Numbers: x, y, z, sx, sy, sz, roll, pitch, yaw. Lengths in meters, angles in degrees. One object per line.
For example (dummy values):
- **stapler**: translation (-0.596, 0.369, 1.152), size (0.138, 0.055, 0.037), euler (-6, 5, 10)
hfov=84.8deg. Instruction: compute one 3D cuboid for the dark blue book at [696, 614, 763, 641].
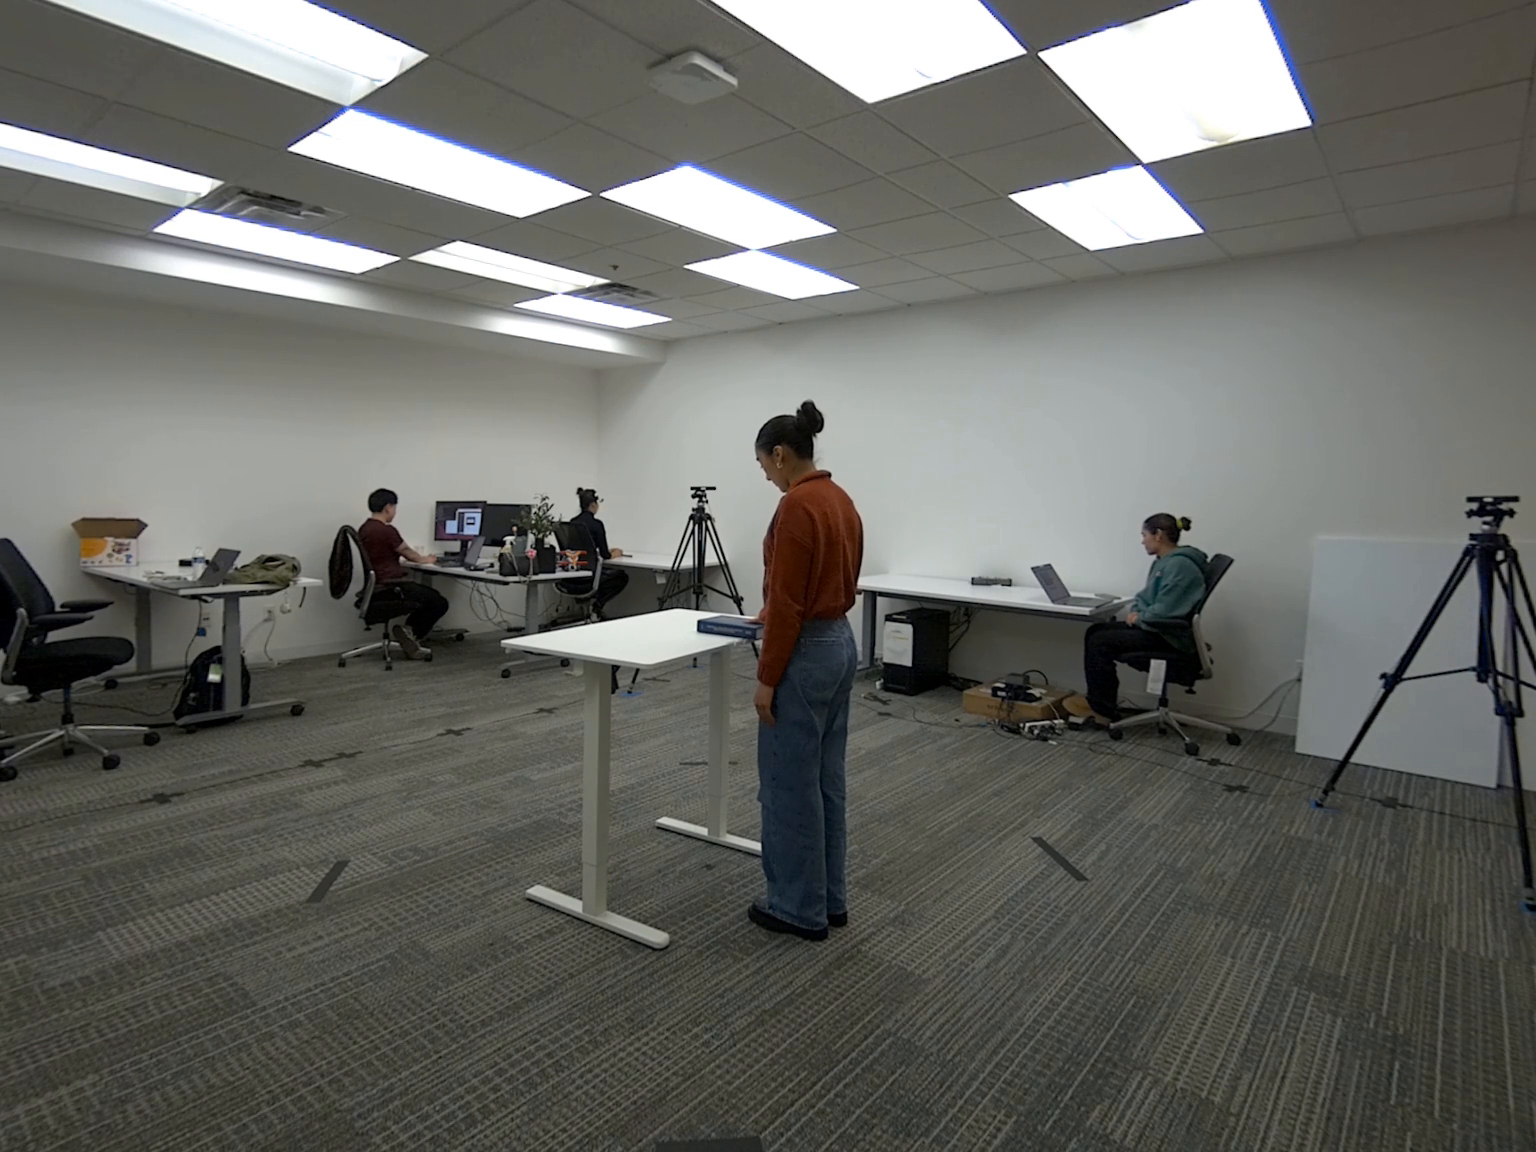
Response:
- **dark blue book**: translation (-0.111, 0.177, 2.988), size (0.252, 0.045, 0.159), euler (5, 7, 31)
